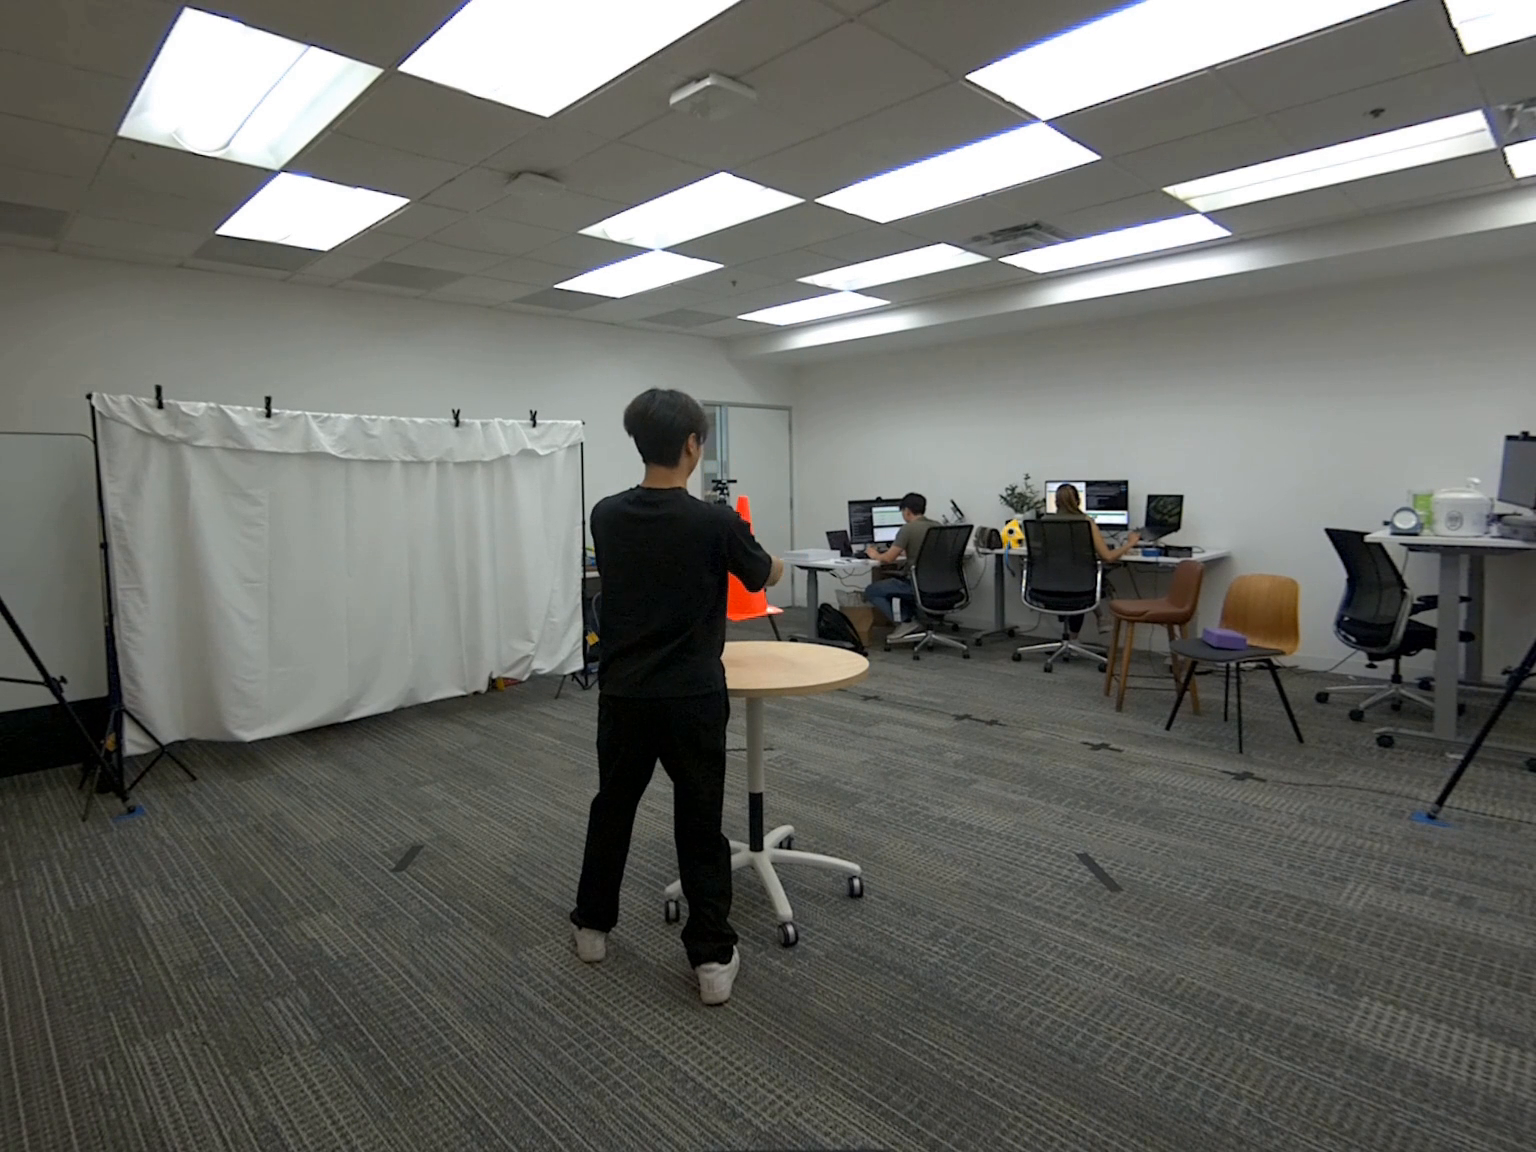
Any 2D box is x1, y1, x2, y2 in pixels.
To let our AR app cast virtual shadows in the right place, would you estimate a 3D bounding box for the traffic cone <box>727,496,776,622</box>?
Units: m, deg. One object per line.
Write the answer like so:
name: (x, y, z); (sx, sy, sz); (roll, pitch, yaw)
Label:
traffic cone: (-0.082, -0.073, 2.820); (0.210, 0.381, 0.199); (5, 9, 29)
